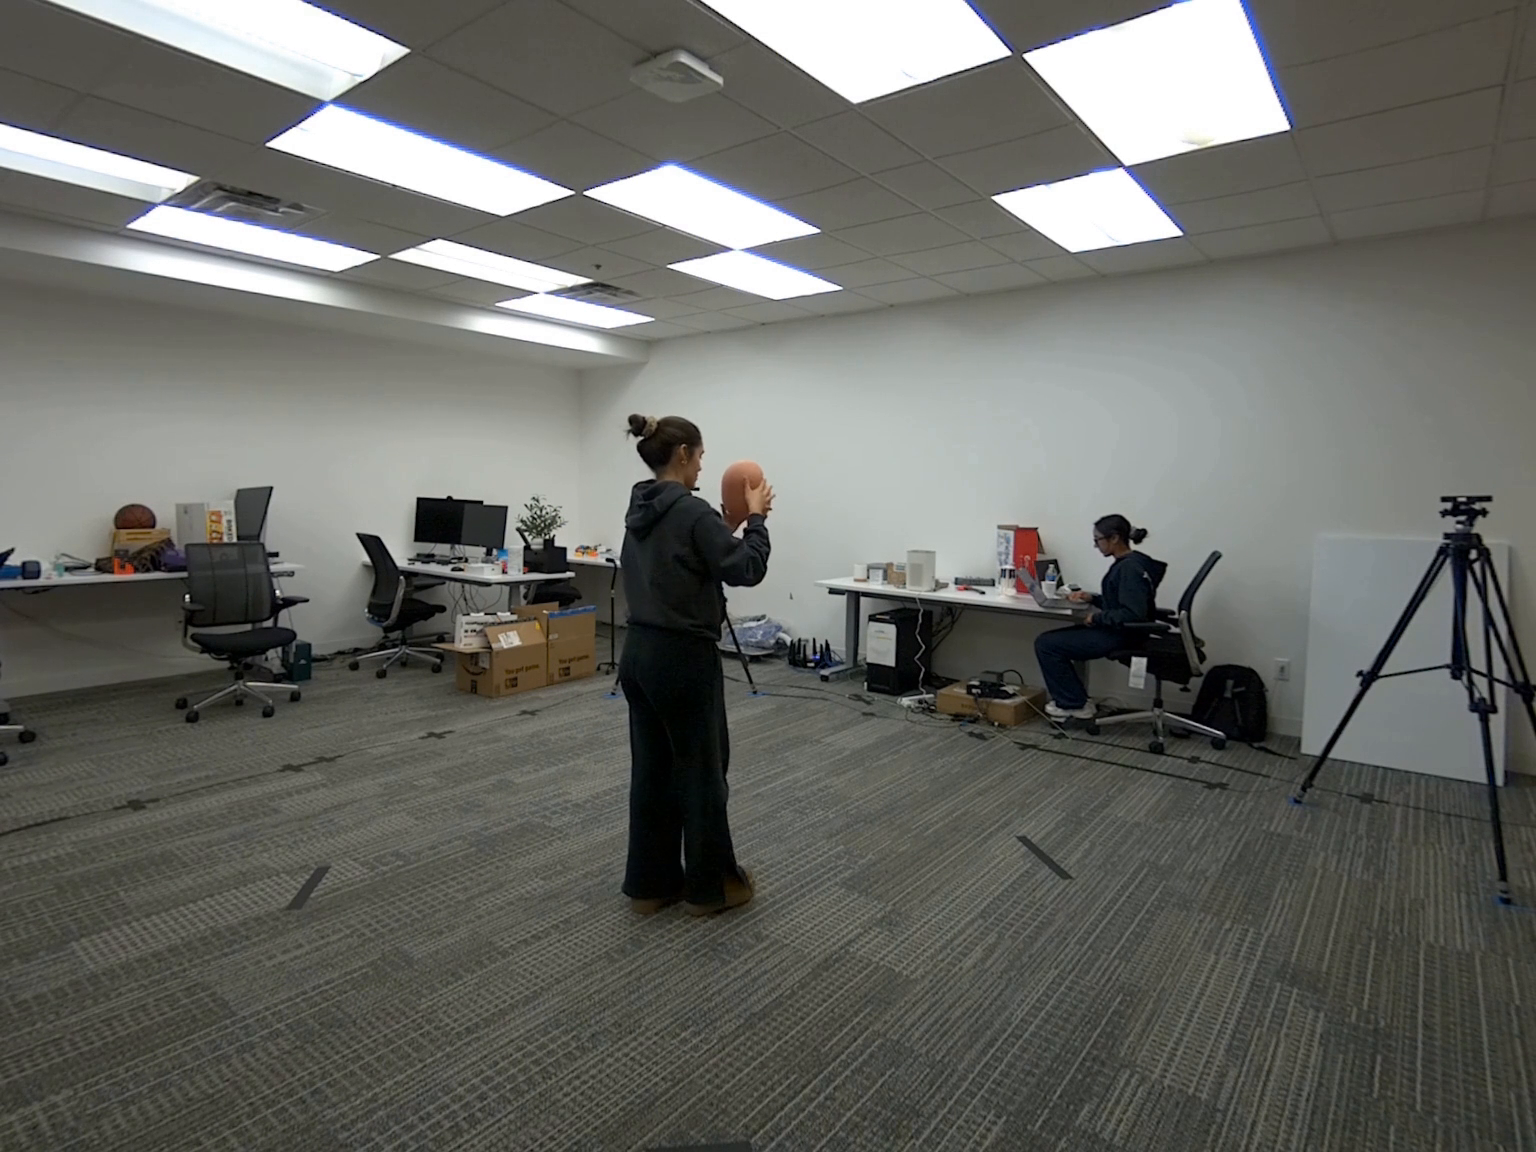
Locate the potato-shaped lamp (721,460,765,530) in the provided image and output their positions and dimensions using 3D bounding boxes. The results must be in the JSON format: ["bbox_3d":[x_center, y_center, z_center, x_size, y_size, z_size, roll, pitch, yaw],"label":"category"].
[{"bbox_3d":[-0.084,-0.294,2.915,0.170,0.192,0.171,-35,37,-31],"label":"potato-shaped lamp"}]
